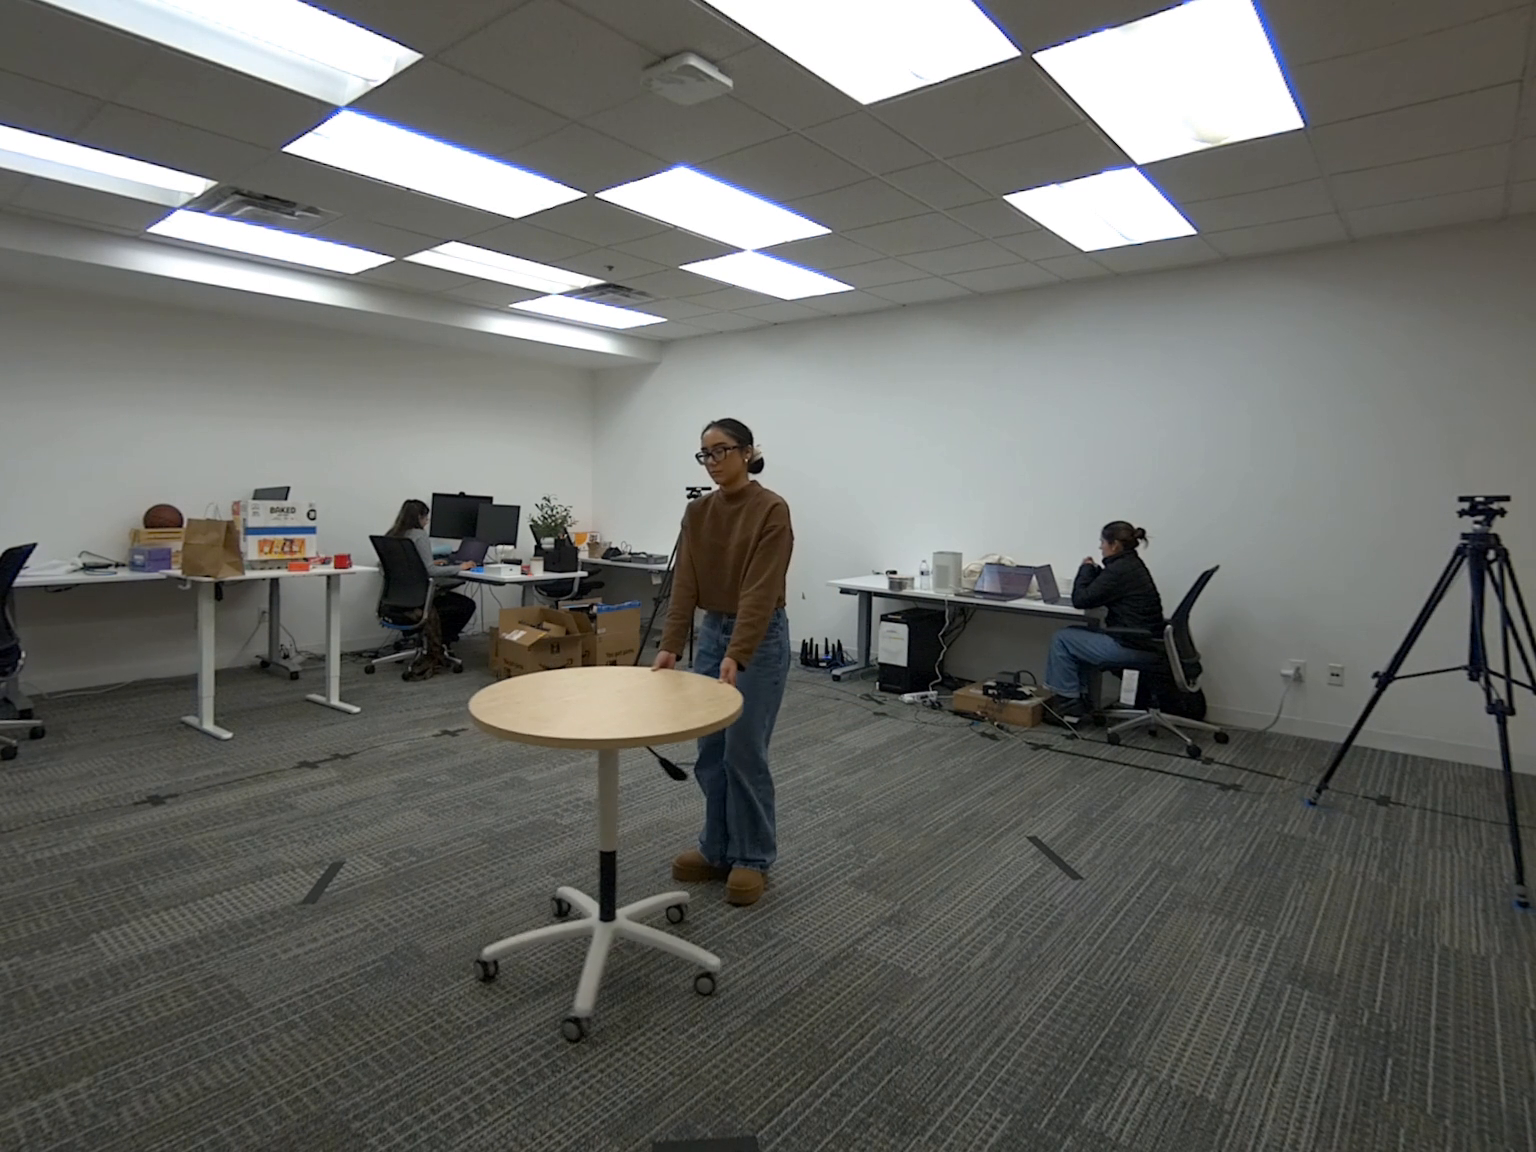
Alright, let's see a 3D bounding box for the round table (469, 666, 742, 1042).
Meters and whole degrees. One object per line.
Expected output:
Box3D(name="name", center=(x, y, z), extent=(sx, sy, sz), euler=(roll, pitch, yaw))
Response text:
Box3D(name="round table", center=(-0.471, 0.729, 2.472), extent=(0.784, 0.783, 0.790), euler=(1, 5, -2))
